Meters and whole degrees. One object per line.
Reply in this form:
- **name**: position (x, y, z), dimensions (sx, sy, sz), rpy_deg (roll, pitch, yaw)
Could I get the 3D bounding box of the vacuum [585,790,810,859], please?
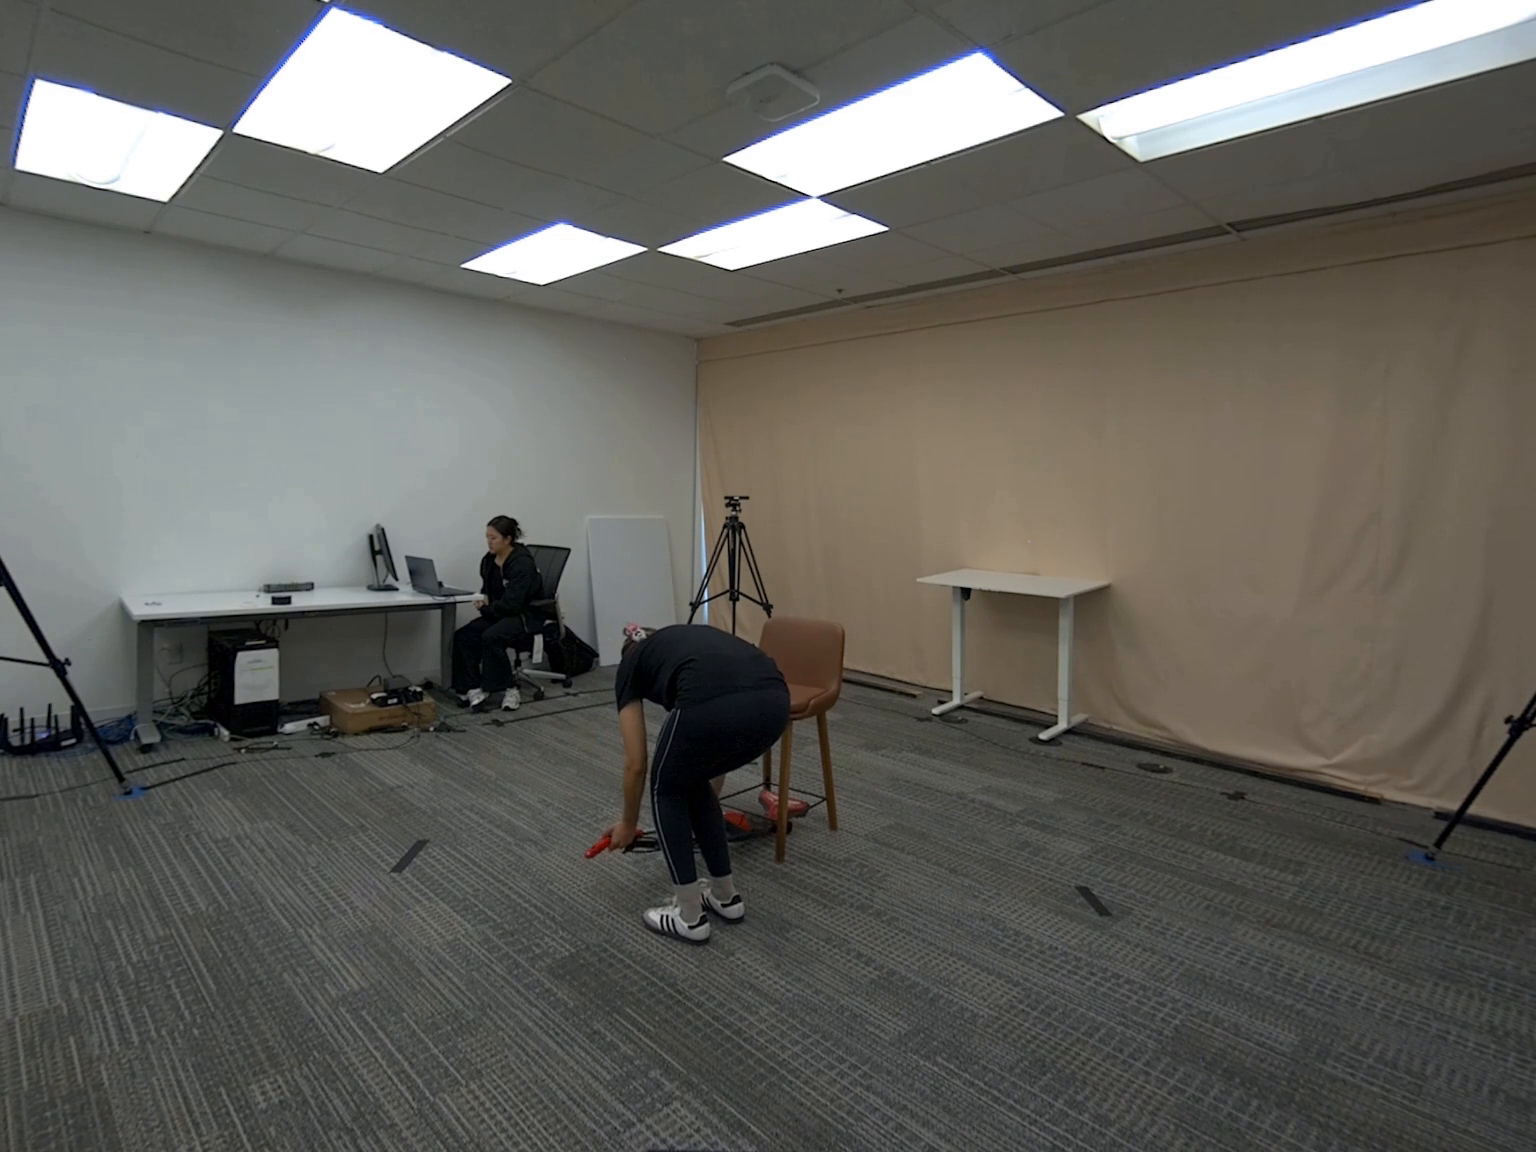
- **vacuum**: position (-0.275, 0.992, 3.174), dimensions (0.260, 0.143, 1.023), rpy_deg (14, 7, 40)
